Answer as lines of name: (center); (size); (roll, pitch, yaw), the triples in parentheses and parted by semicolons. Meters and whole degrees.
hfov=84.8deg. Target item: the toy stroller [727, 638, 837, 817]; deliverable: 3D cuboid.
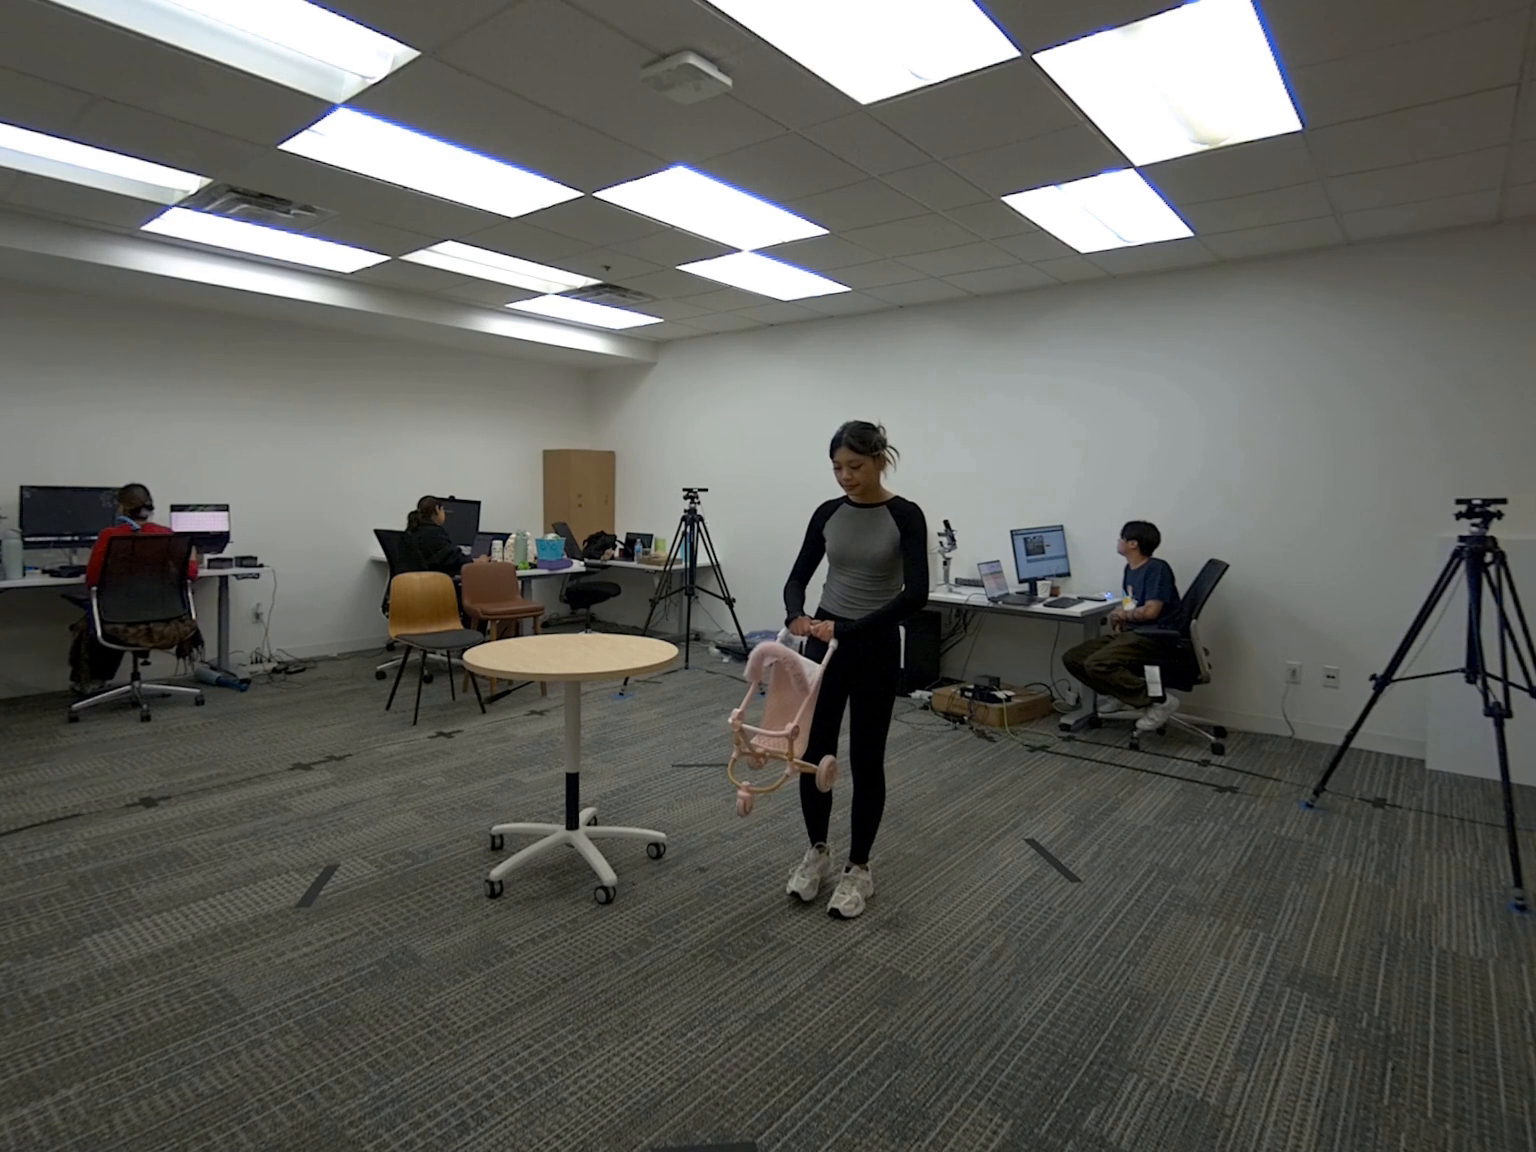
toy stroller: (0.017, 0.420, 2.539); (0.291, 0.534, 0.330); (8, 4, 39)
